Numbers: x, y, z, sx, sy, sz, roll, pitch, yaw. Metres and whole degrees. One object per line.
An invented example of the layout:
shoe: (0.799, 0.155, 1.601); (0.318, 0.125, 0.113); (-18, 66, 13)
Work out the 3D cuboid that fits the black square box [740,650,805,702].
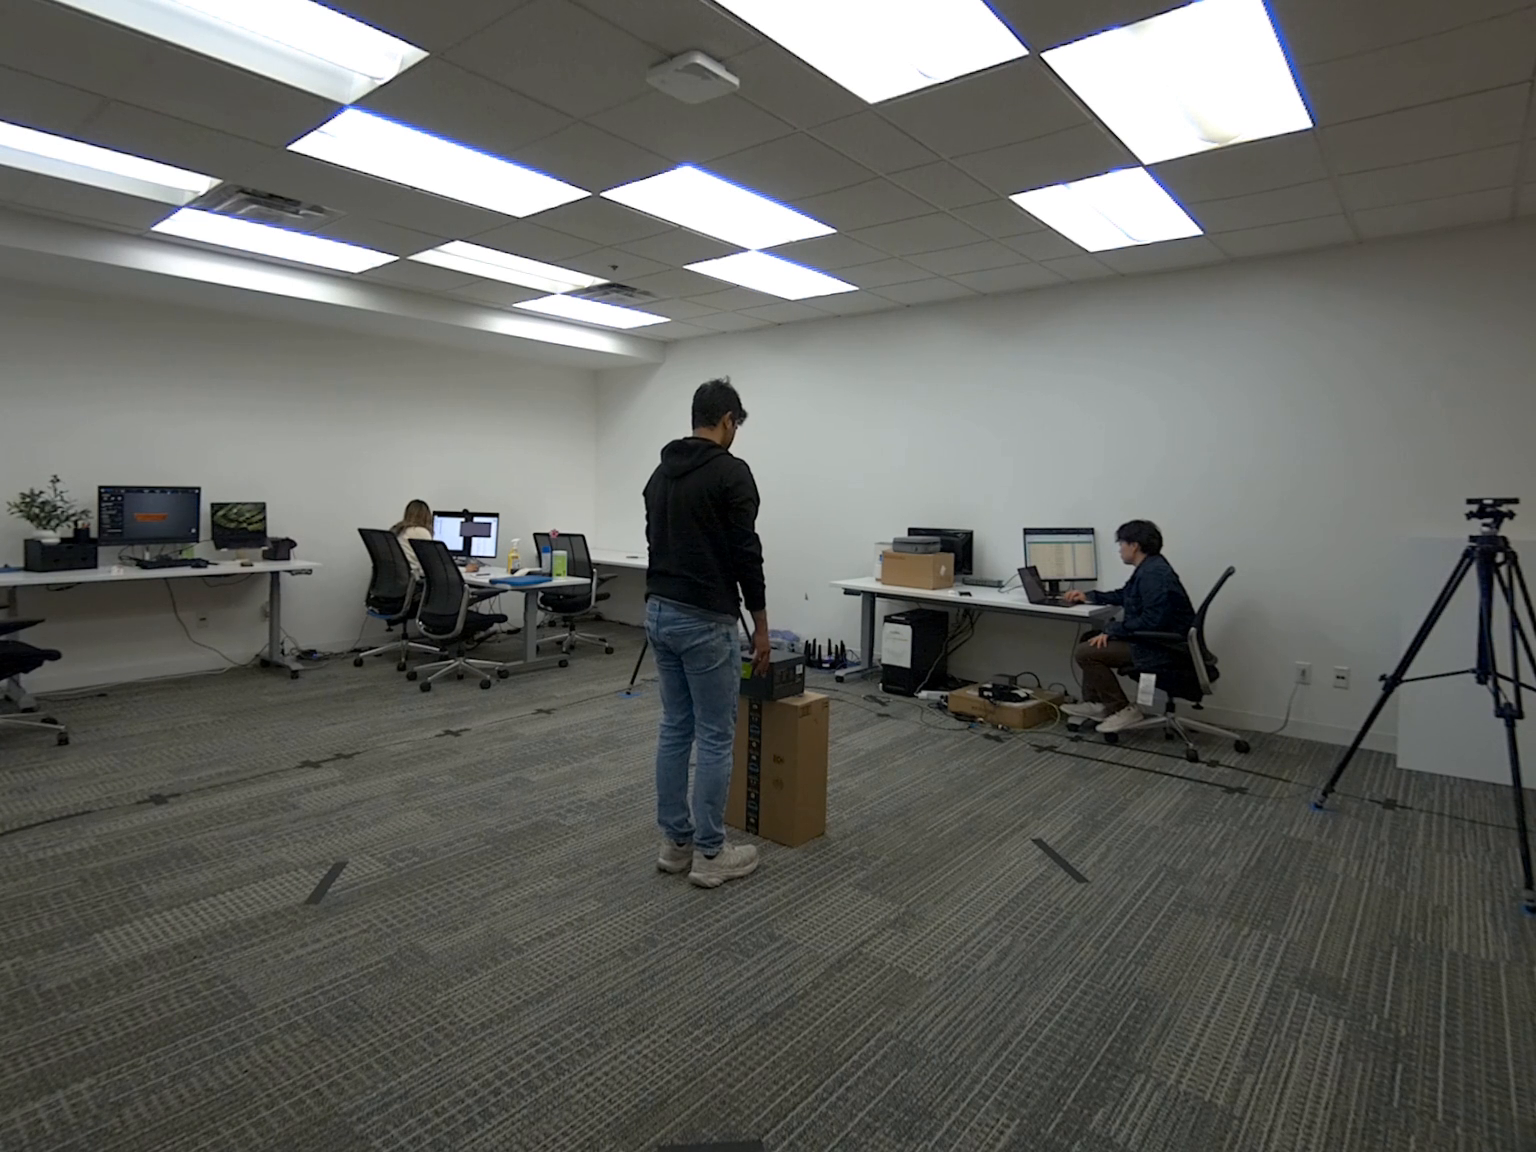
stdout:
black square box: (-0.012, 0.391, 3.459); (0.235, 0.155, 0.210); (5, 7, 40)
